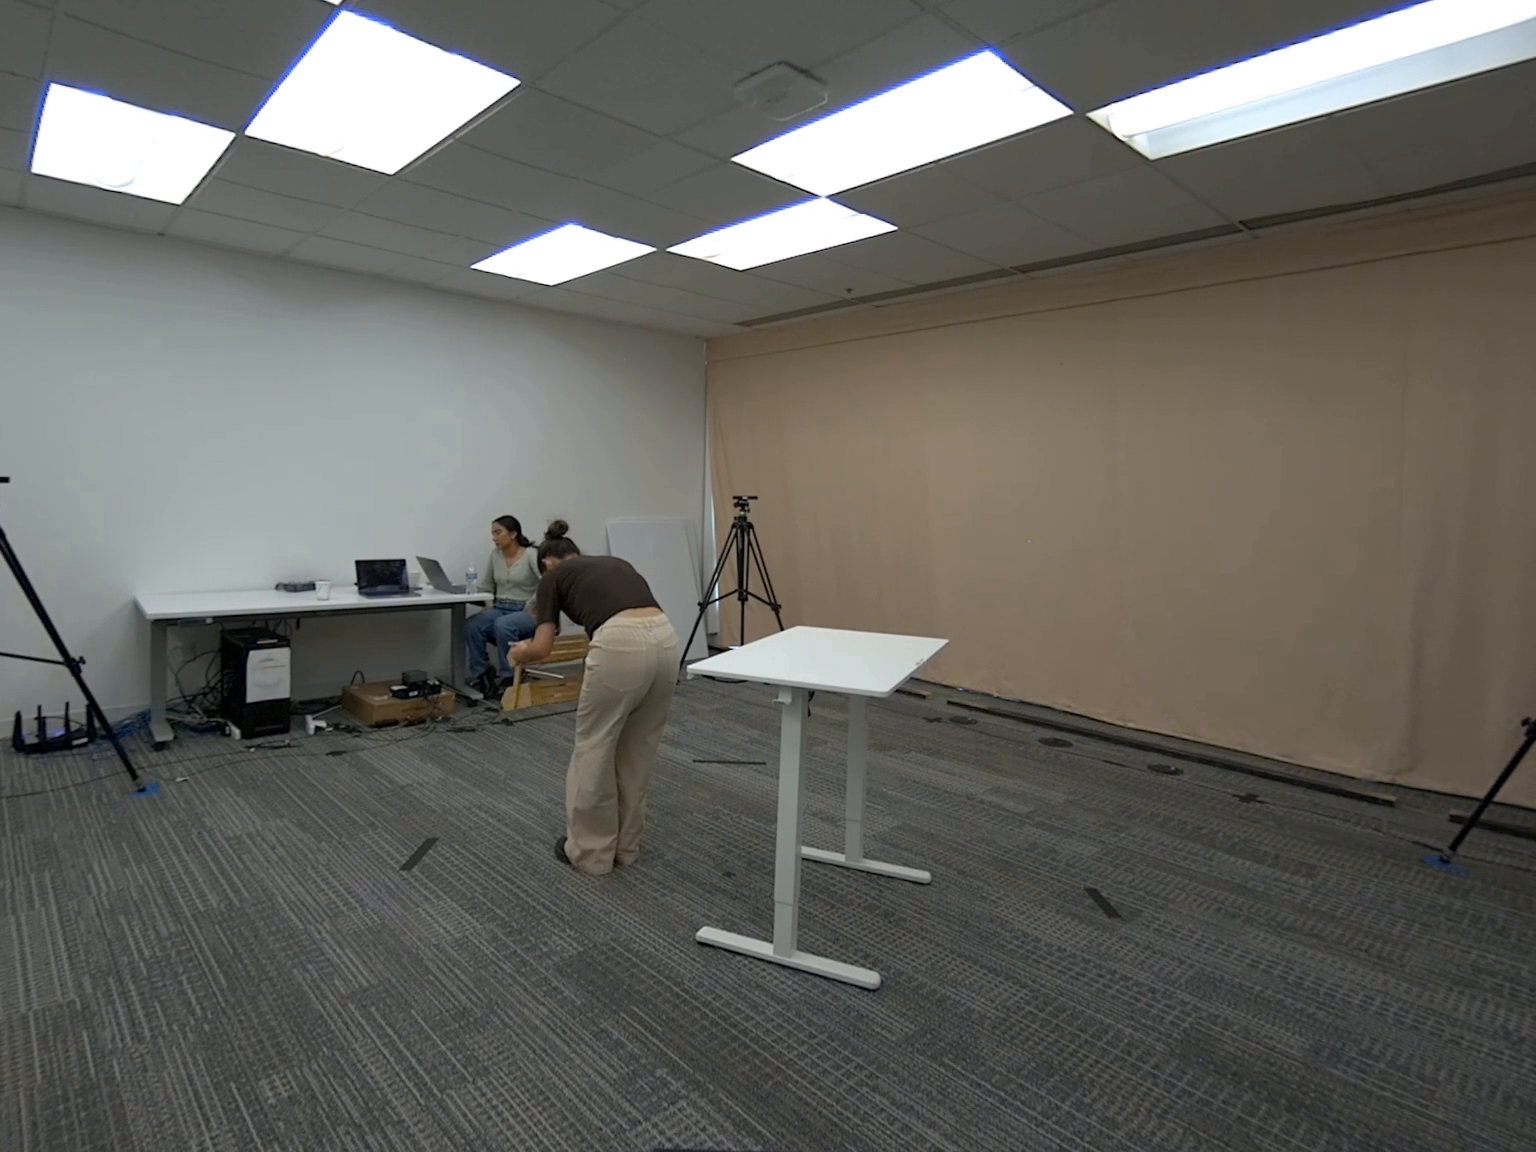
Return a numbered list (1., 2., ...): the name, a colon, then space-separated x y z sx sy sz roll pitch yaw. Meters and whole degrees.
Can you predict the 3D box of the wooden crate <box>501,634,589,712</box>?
1. wooden crate: -0.923 0.395 3.486 0.317 0.275 0.307 -1 -10 -43
